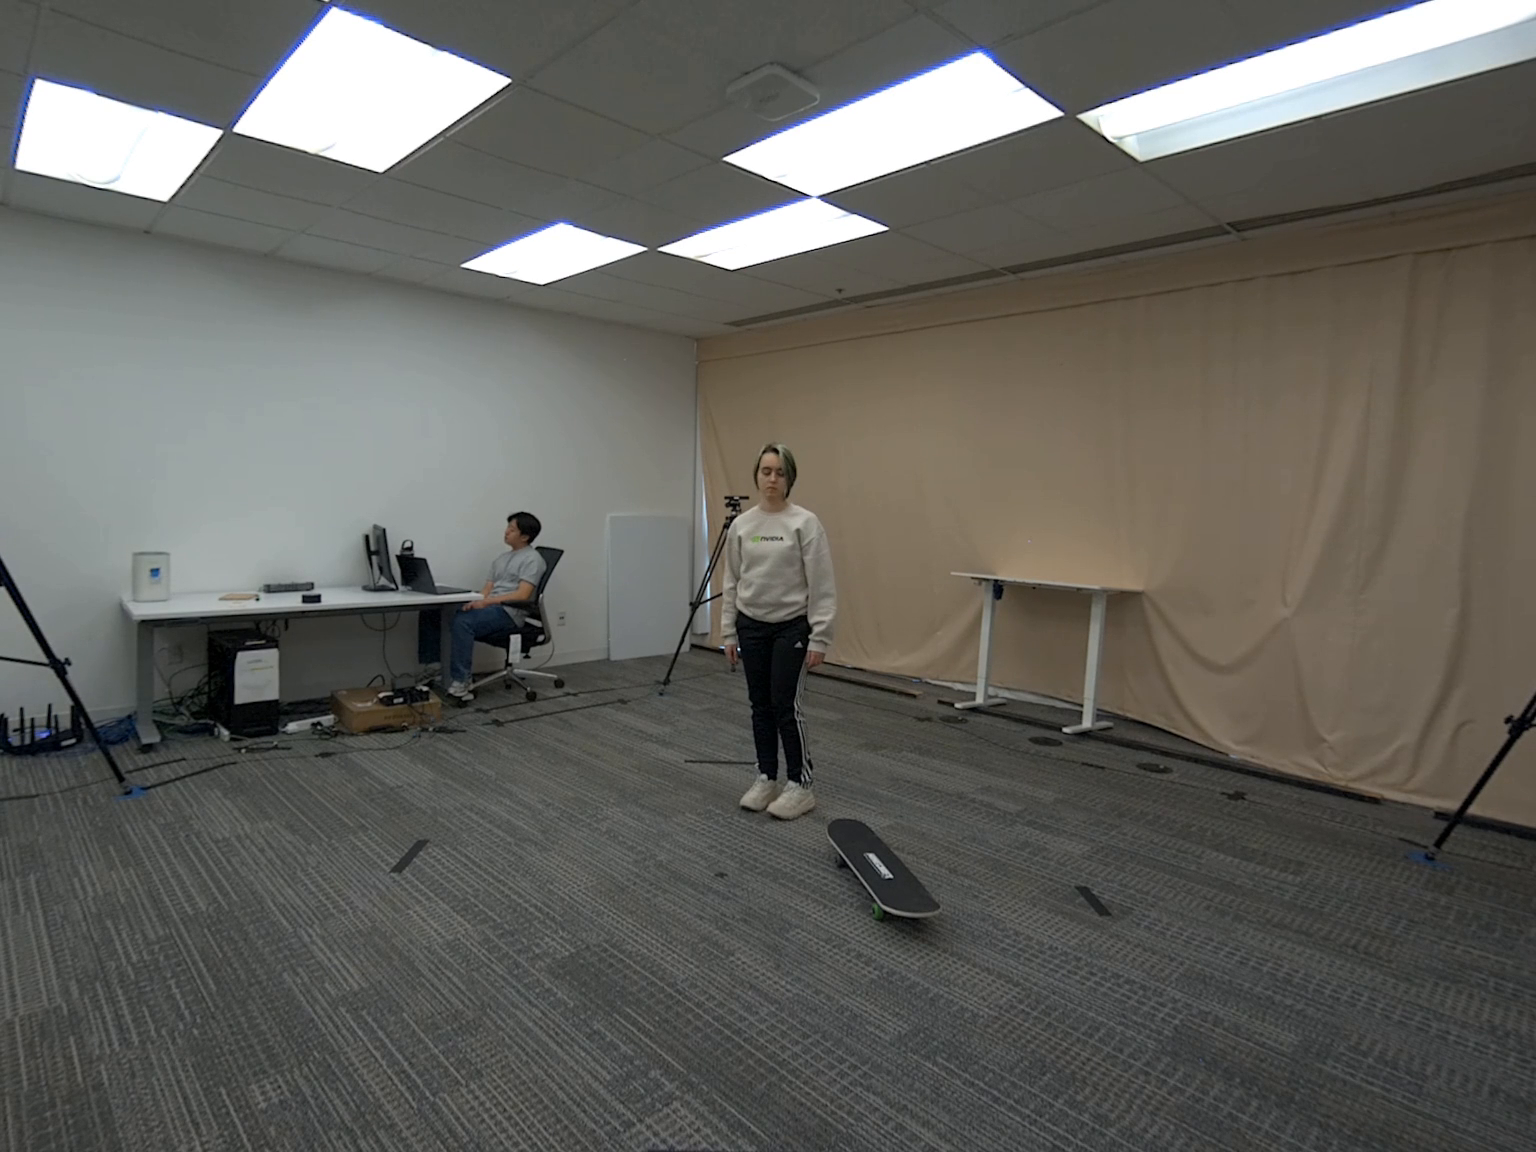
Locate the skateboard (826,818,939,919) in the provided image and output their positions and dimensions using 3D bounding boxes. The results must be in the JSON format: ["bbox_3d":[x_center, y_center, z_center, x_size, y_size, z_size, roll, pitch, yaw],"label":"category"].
[{"bbox_3d":[0.389,1.069,3.015,0.191,0.110,0.795,0,6,-13],"label":"skateboard"}]
